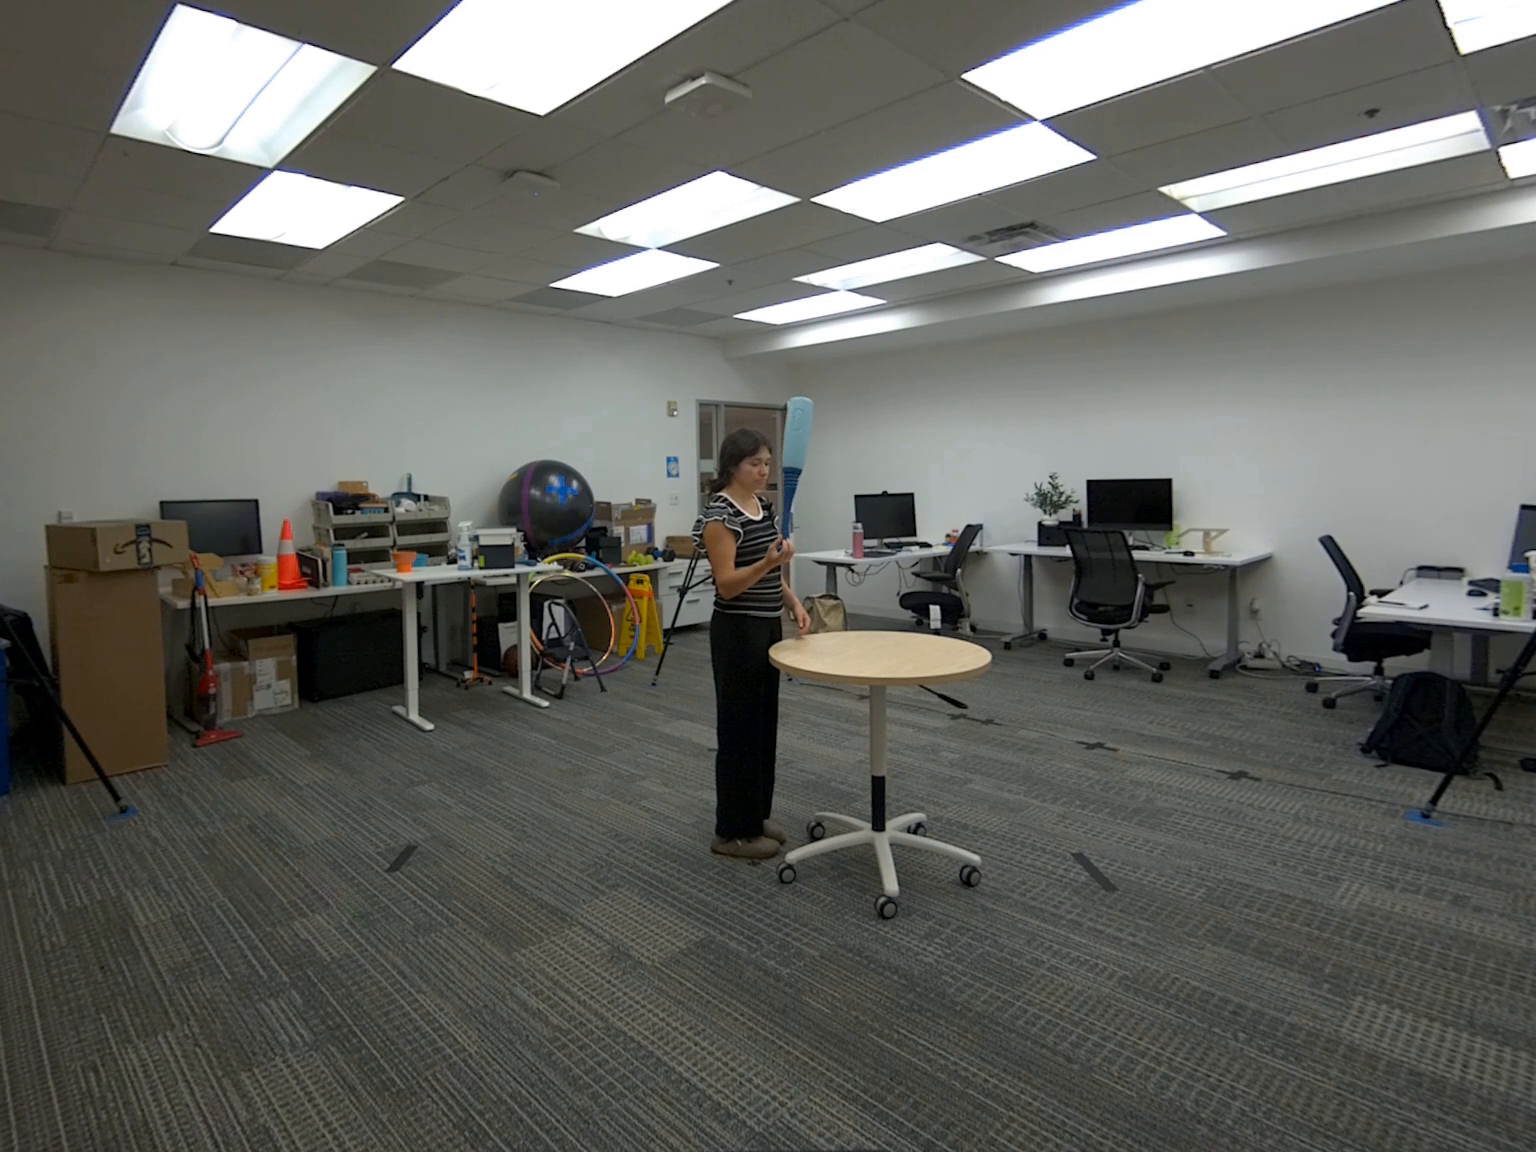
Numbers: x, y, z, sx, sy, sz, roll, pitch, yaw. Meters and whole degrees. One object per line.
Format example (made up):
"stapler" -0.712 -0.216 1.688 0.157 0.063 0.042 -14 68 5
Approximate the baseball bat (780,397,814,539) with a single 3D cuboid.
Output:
"baseball bat" 0.085 -0.349 2.945 0.089 0.546 0.088 8 -6 -1
